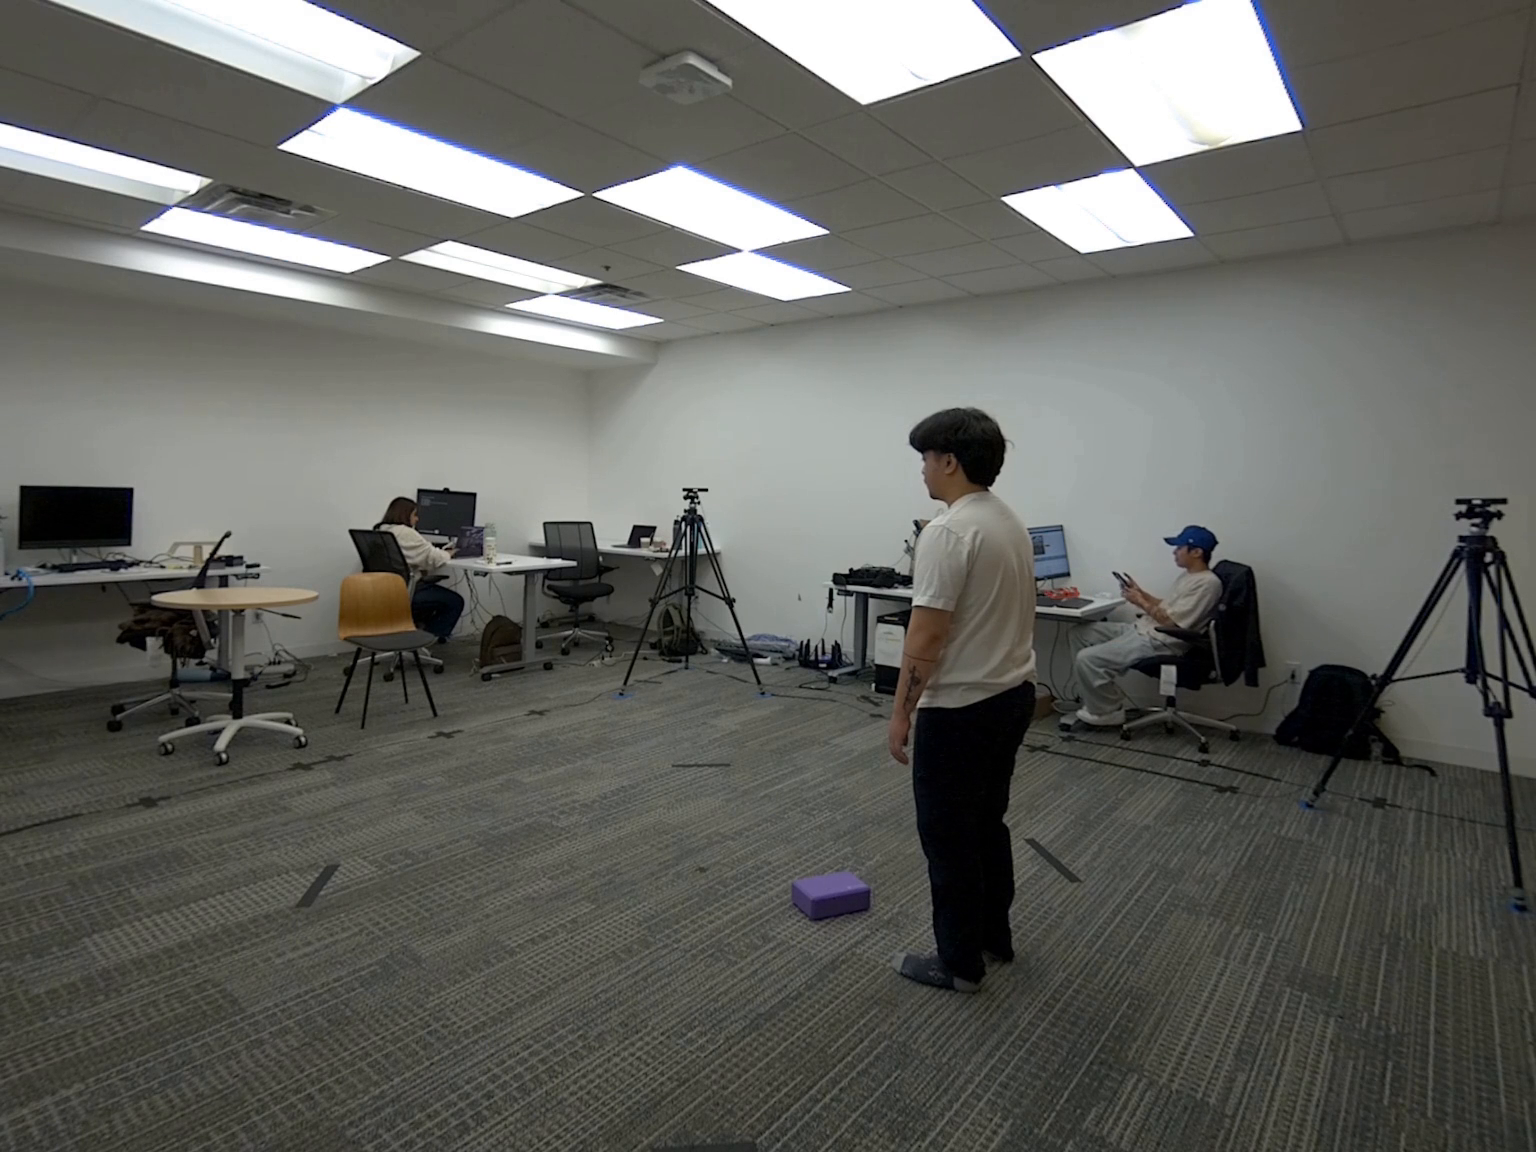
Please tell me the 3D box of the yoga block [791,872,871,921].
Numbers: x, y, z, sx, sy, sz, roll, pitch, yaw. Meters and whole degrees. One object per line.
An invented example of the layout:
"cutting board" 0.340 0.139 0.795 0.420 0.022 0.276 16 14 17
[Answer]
"yoga block" 0.204 1.062 2.854 0.224 0.076 0.153 -1 4 -24
